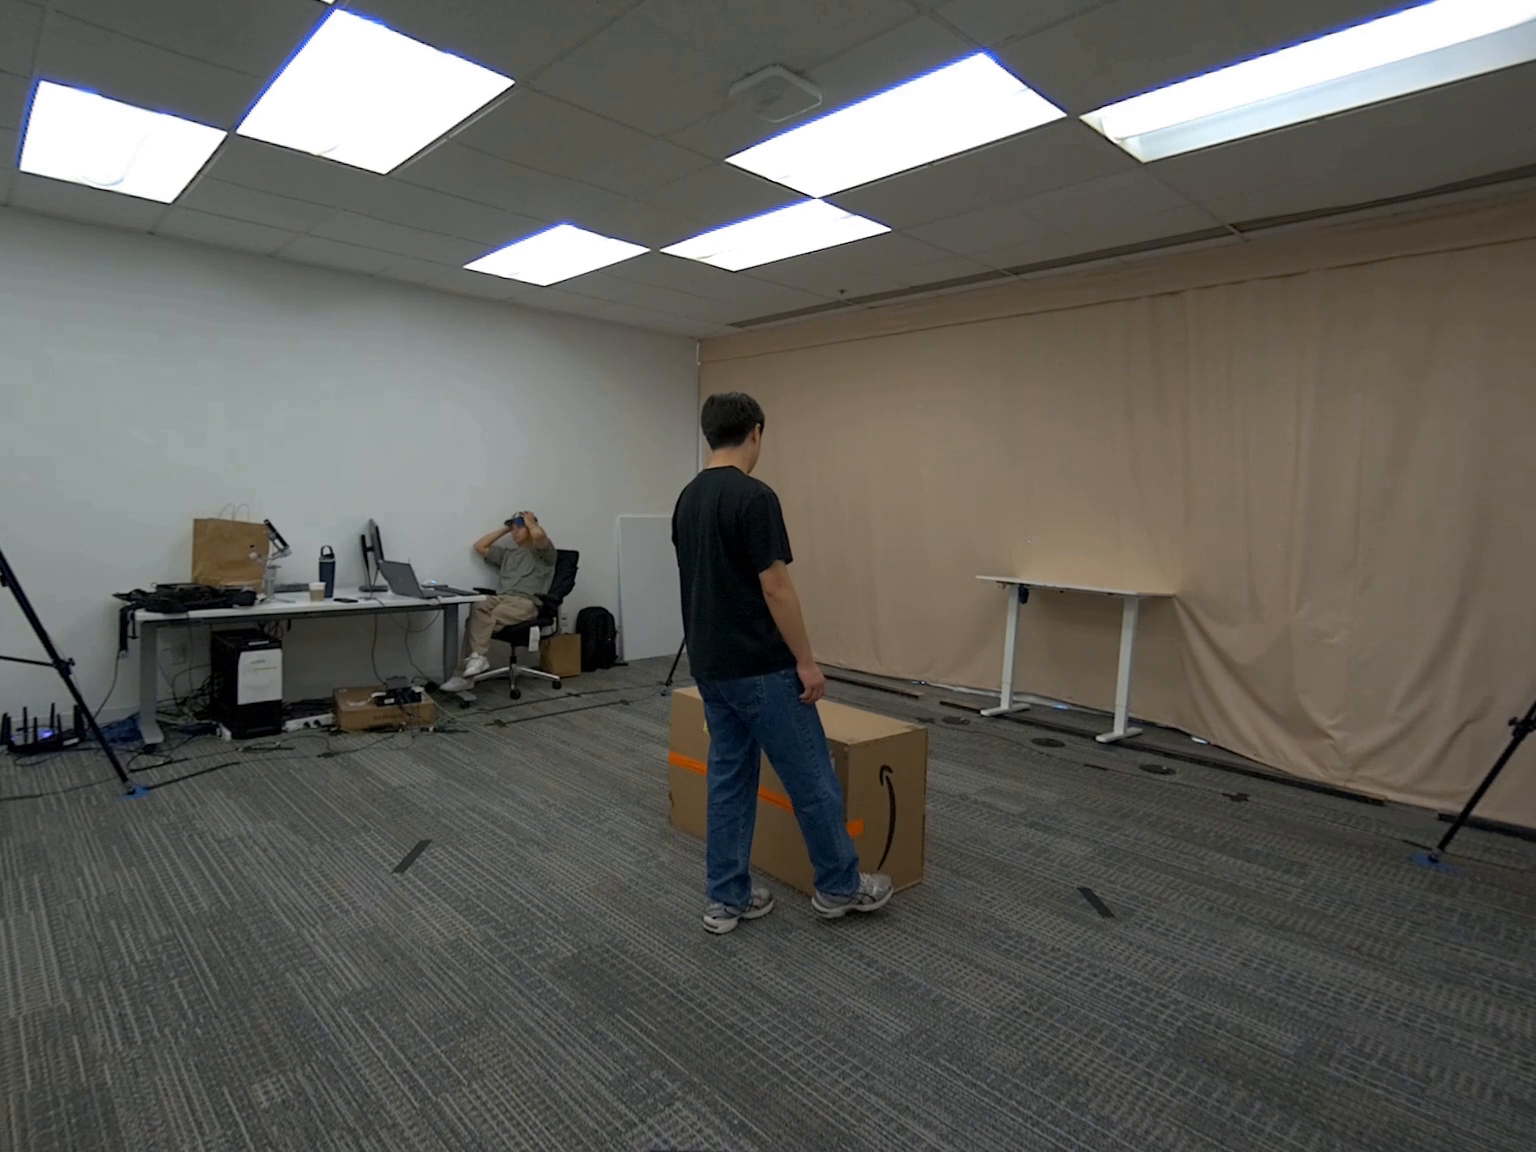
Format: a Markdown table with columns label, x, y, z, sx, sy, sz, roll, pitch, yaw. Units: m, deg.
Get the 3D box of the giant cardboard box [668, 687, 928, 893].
| label | x | y | z | sx | sy | sz | roll | pitch | yaw |
| --- | --- | --- | --- | --- | --- | --- | --- | --- | --- |
| giant cardboard box | 0.074 | 0.805 | 3.340 | 0.437 | 0.582 | 1.053 | -3 | 6 | -41 |
